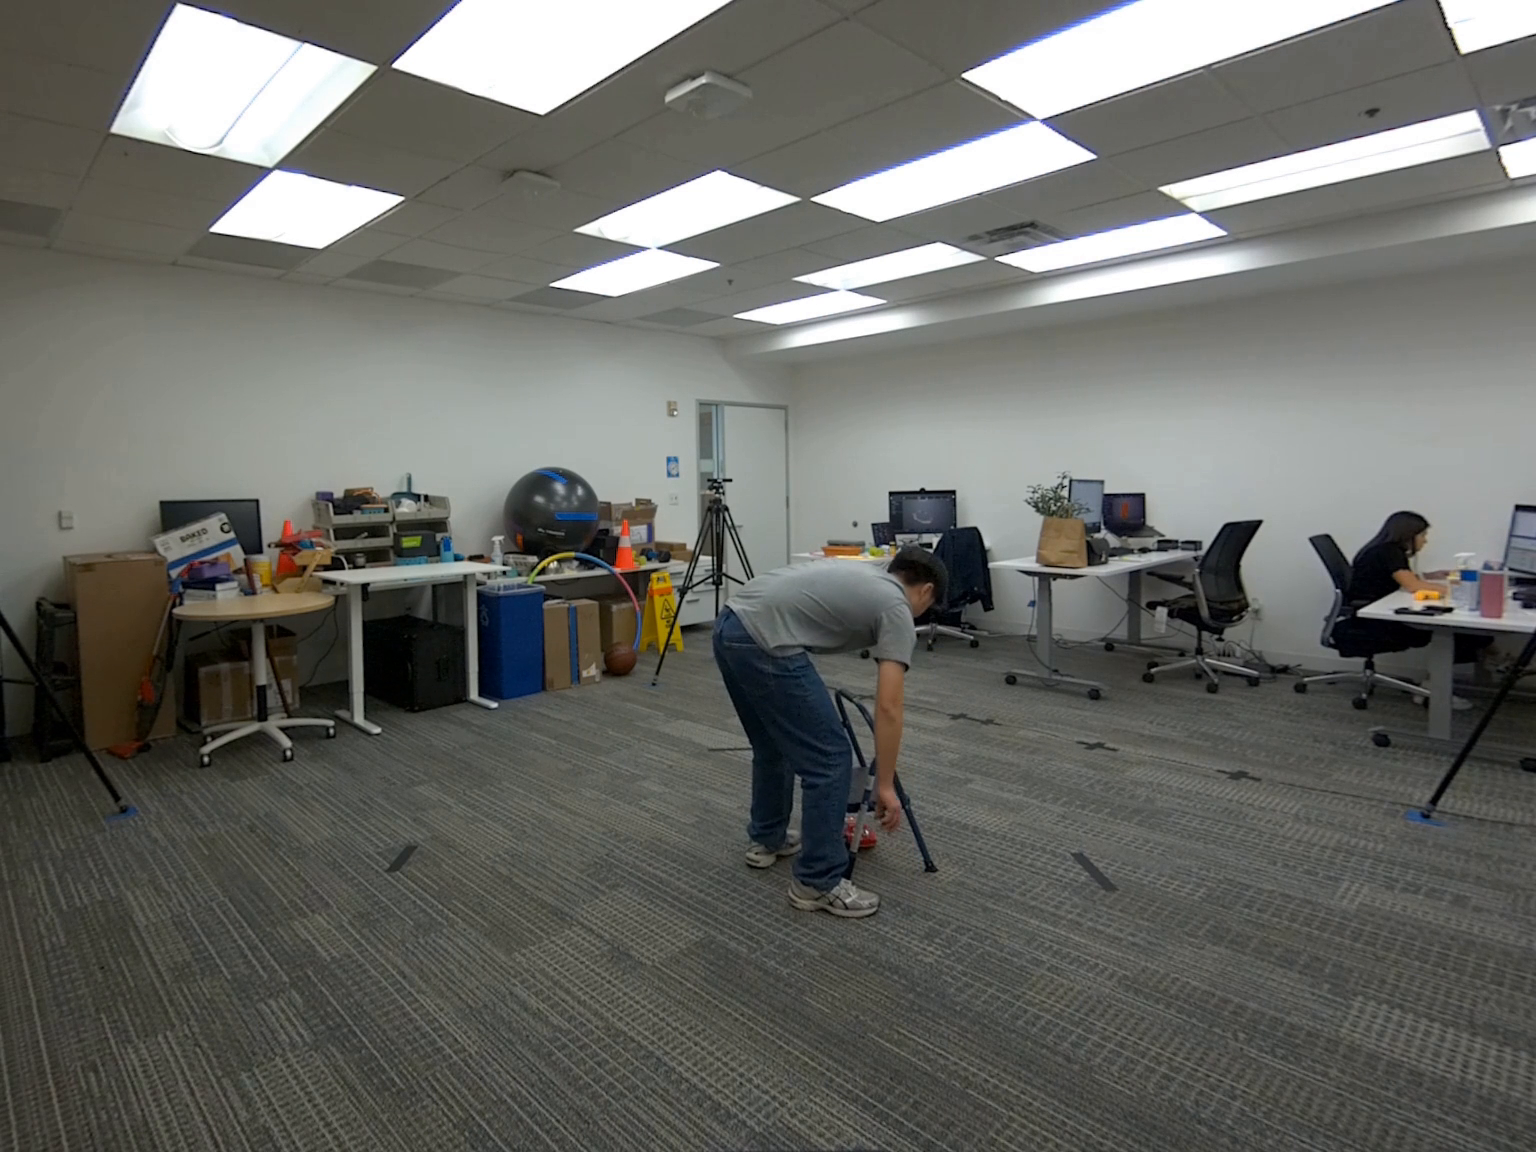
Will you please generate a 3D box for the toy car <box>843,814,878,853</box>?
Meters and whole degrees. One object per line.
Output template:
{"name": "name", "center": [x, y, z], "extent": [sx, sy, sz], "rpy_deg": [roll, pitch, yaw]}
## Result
{"name": "toy car", "center": [0.349, 0.994, 3.276], "extent": [0.129, 0.084, 0.256], "rpy_deg": [-1, -5, -13]}
